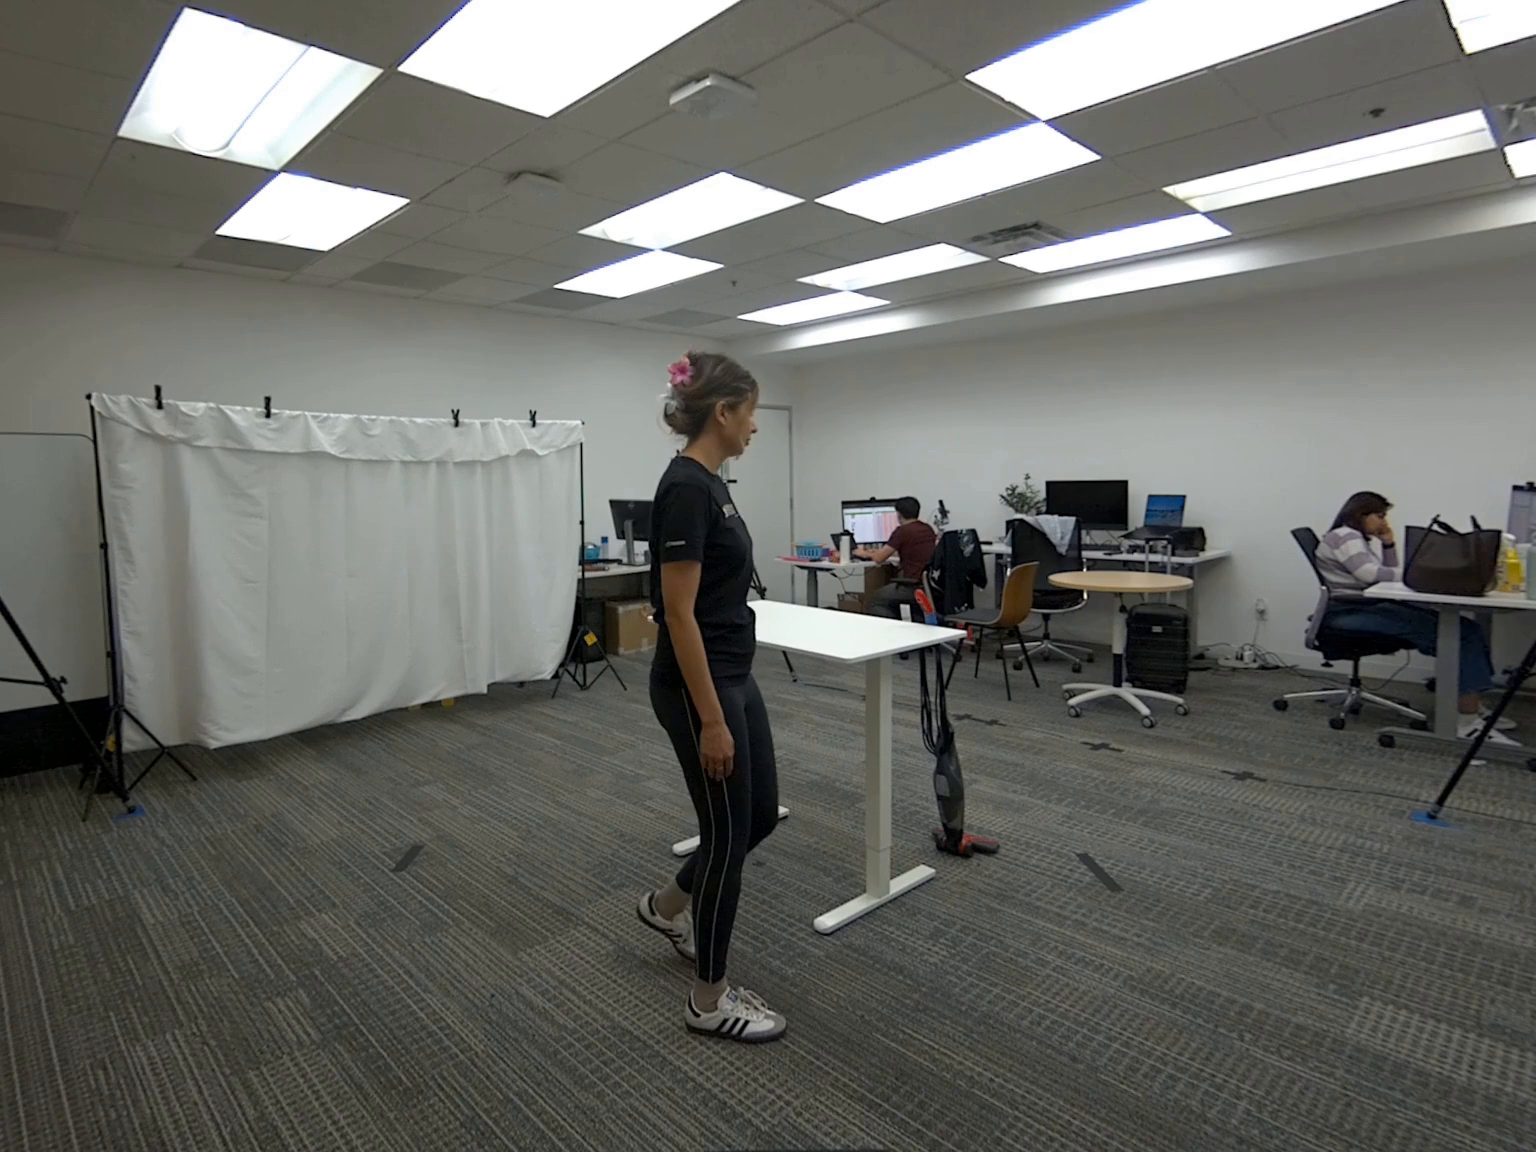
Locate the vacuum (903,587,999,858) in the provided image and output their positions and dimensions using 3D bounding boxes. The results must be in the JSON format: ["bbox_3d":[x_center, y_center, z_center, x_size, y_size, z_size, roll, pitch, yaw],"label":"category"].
[{"bbox_3d":[0.626,0.545,3.057,0.260,1.030,0.142,3,23,42],"label":"vacuum"}]
